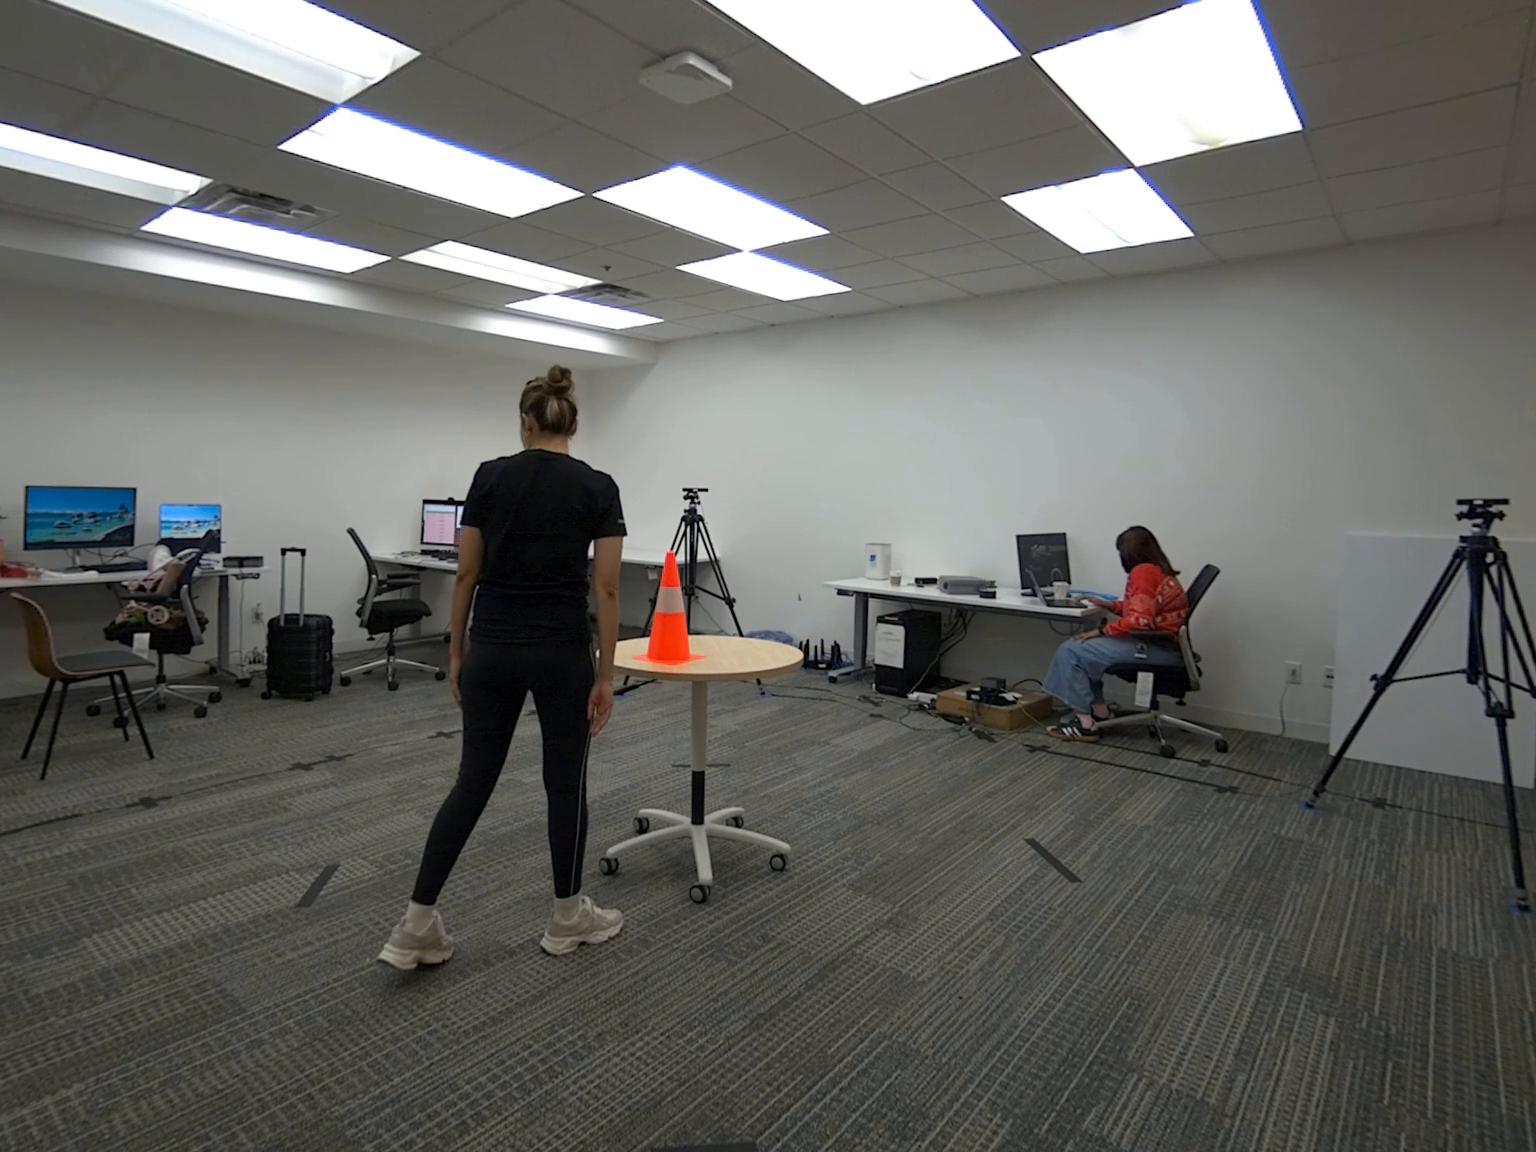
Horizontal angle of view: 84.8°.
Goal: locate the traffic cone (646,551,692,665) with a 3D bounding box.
[{"bbox_3d":[-0.370,0.105,3.032,0.209,0.382,0.199,1,4,32],"label":"traffic cone"}]
